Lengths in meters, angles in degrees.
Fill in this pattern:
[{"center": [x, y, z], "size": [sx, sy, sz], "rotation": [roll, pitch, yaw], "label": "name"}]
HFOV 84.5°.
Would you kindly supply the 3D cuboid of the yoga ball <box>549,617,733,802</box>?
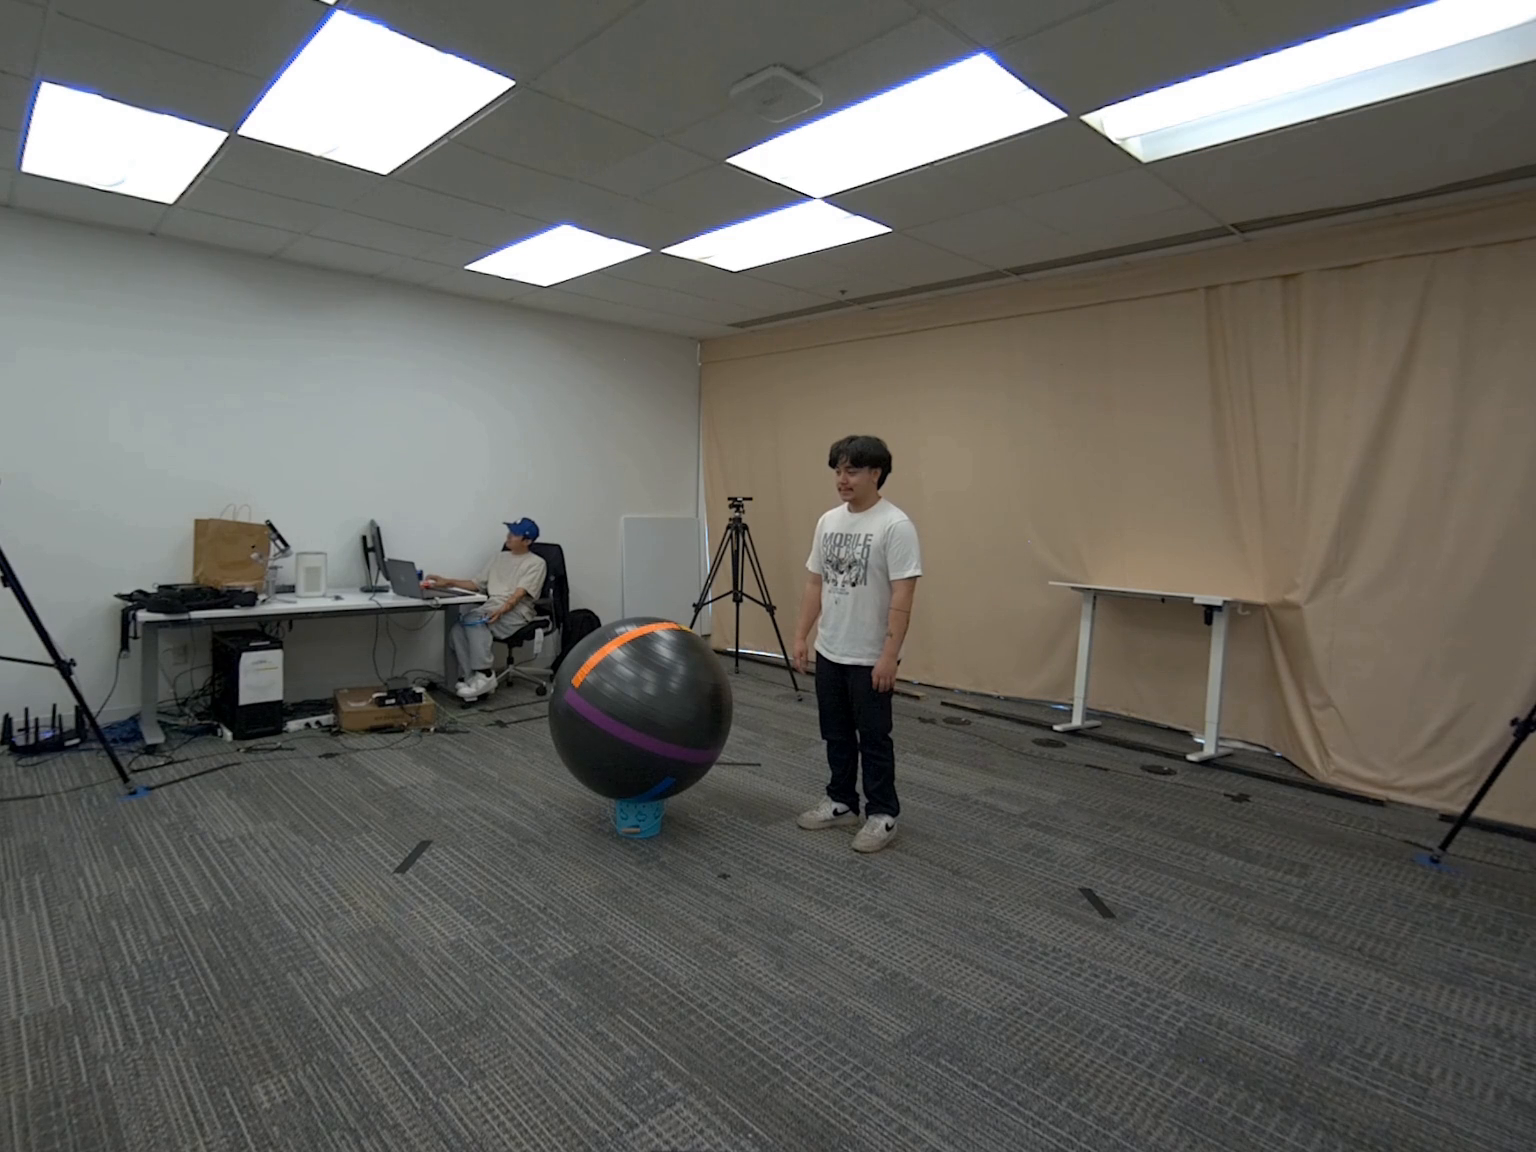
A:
[{"center": [-0.550, 0.555, 3.507], "size": [0.757, 0.756, 0.761], "rotation": [1, 4, -1], "label": "yoga ball"}]
